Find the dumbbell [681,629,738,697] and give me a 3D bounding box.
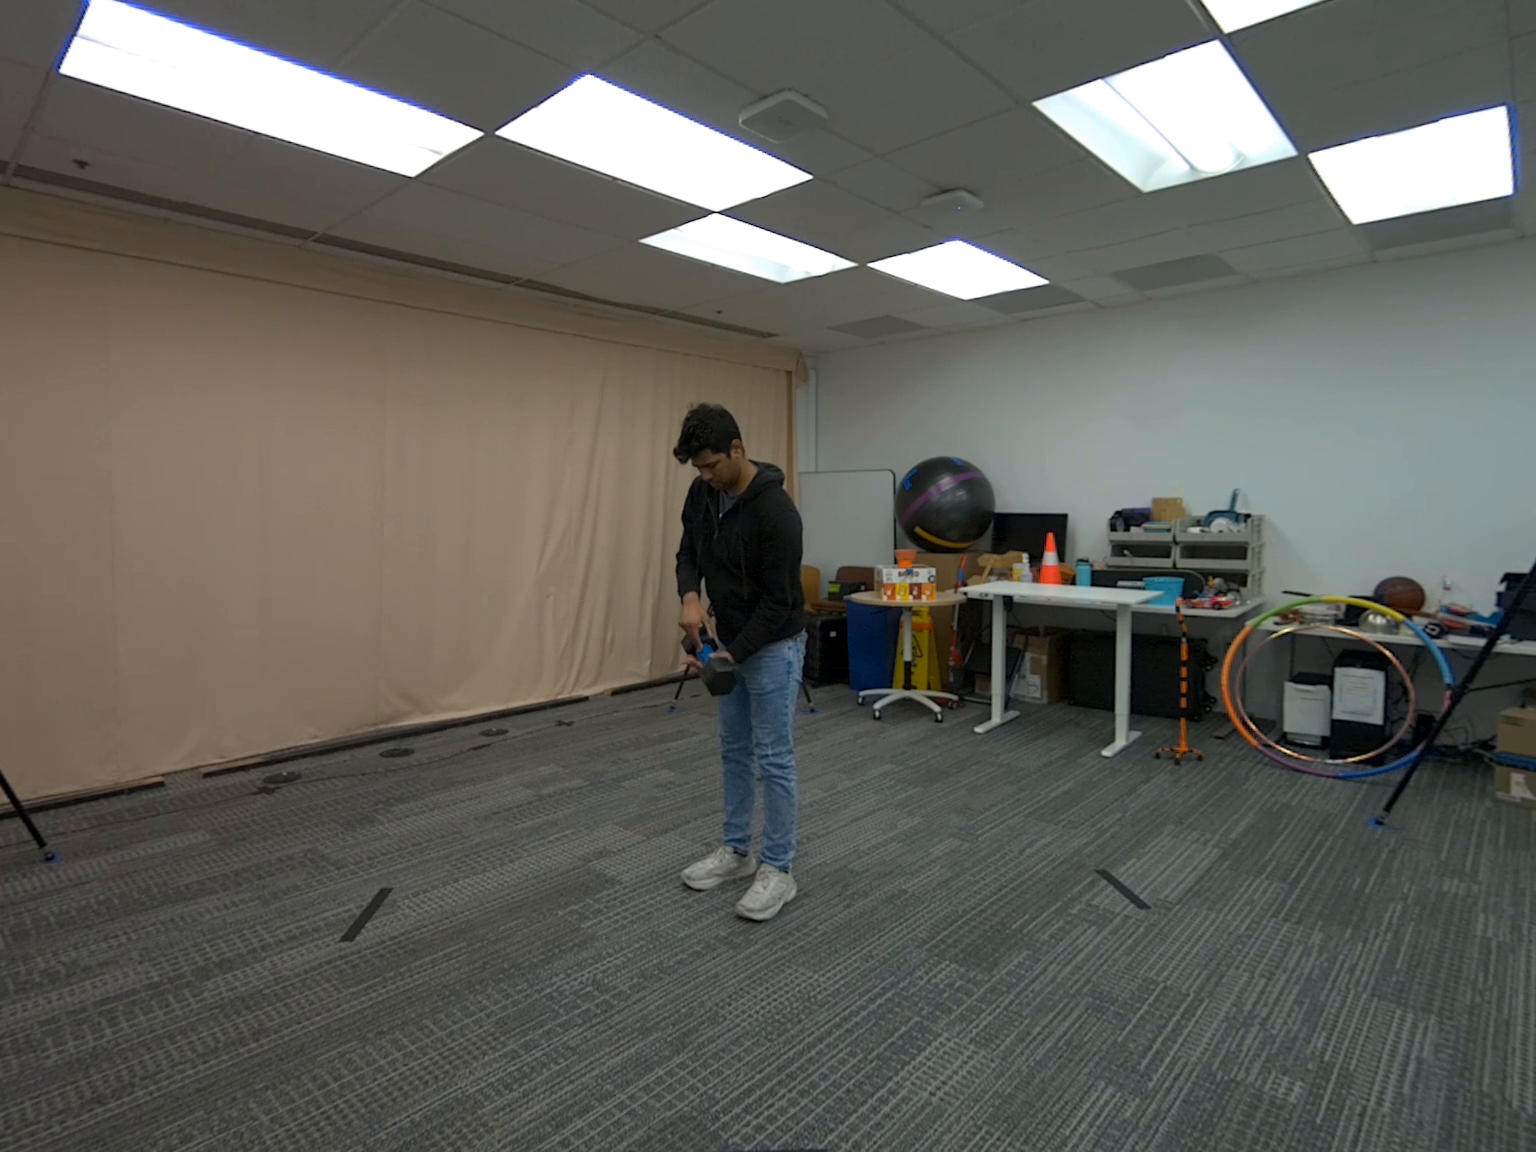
[{"bbox_3d":[-0.199,0.283,2.819,0.121,0.107,0.302,-7,23,-20],"label":"dumbbell"}]
